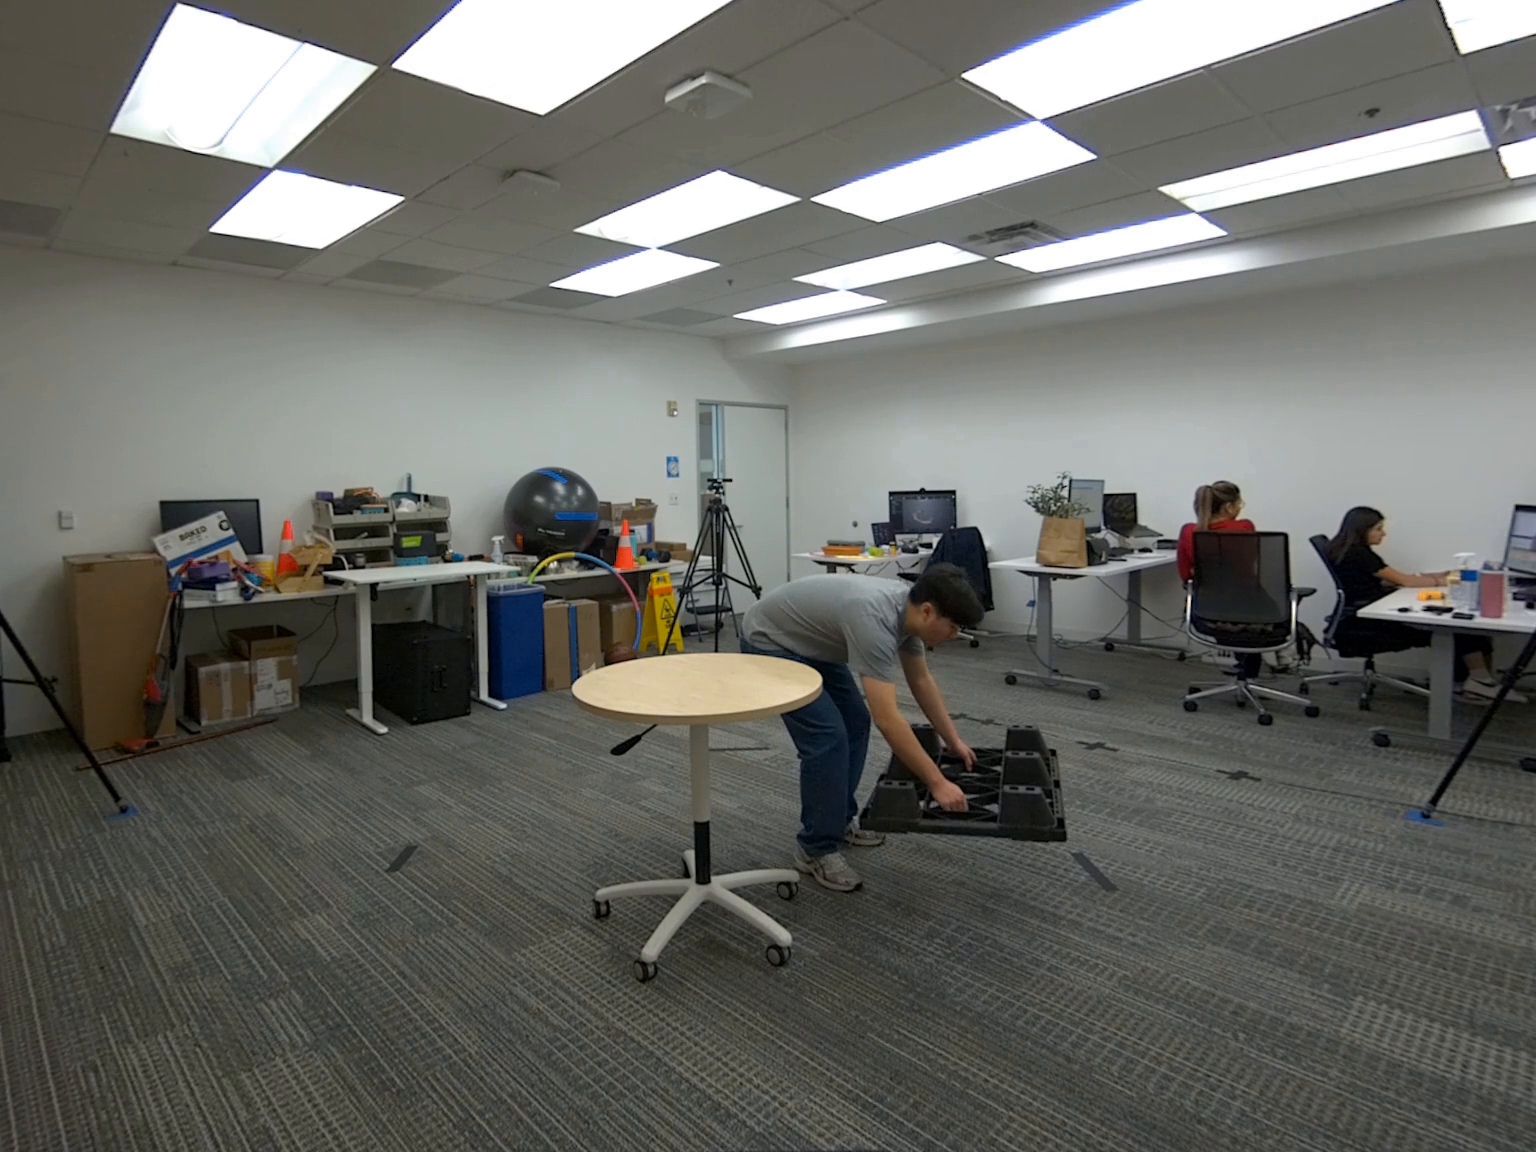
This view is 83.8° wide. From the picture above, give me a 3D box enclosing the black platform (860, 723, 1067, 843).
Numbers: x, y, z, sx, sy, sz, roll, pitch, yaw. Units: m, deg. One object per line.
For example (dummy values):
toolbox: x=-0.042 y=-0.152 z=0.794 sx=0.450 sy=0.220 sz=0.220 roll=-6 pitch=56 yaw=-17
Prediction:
black platform: x=0.672 y=0.665 z=2.896 sx=0.615 sy=0.143 sz=0.795 roll=-2 pitch=5 yaw=17
